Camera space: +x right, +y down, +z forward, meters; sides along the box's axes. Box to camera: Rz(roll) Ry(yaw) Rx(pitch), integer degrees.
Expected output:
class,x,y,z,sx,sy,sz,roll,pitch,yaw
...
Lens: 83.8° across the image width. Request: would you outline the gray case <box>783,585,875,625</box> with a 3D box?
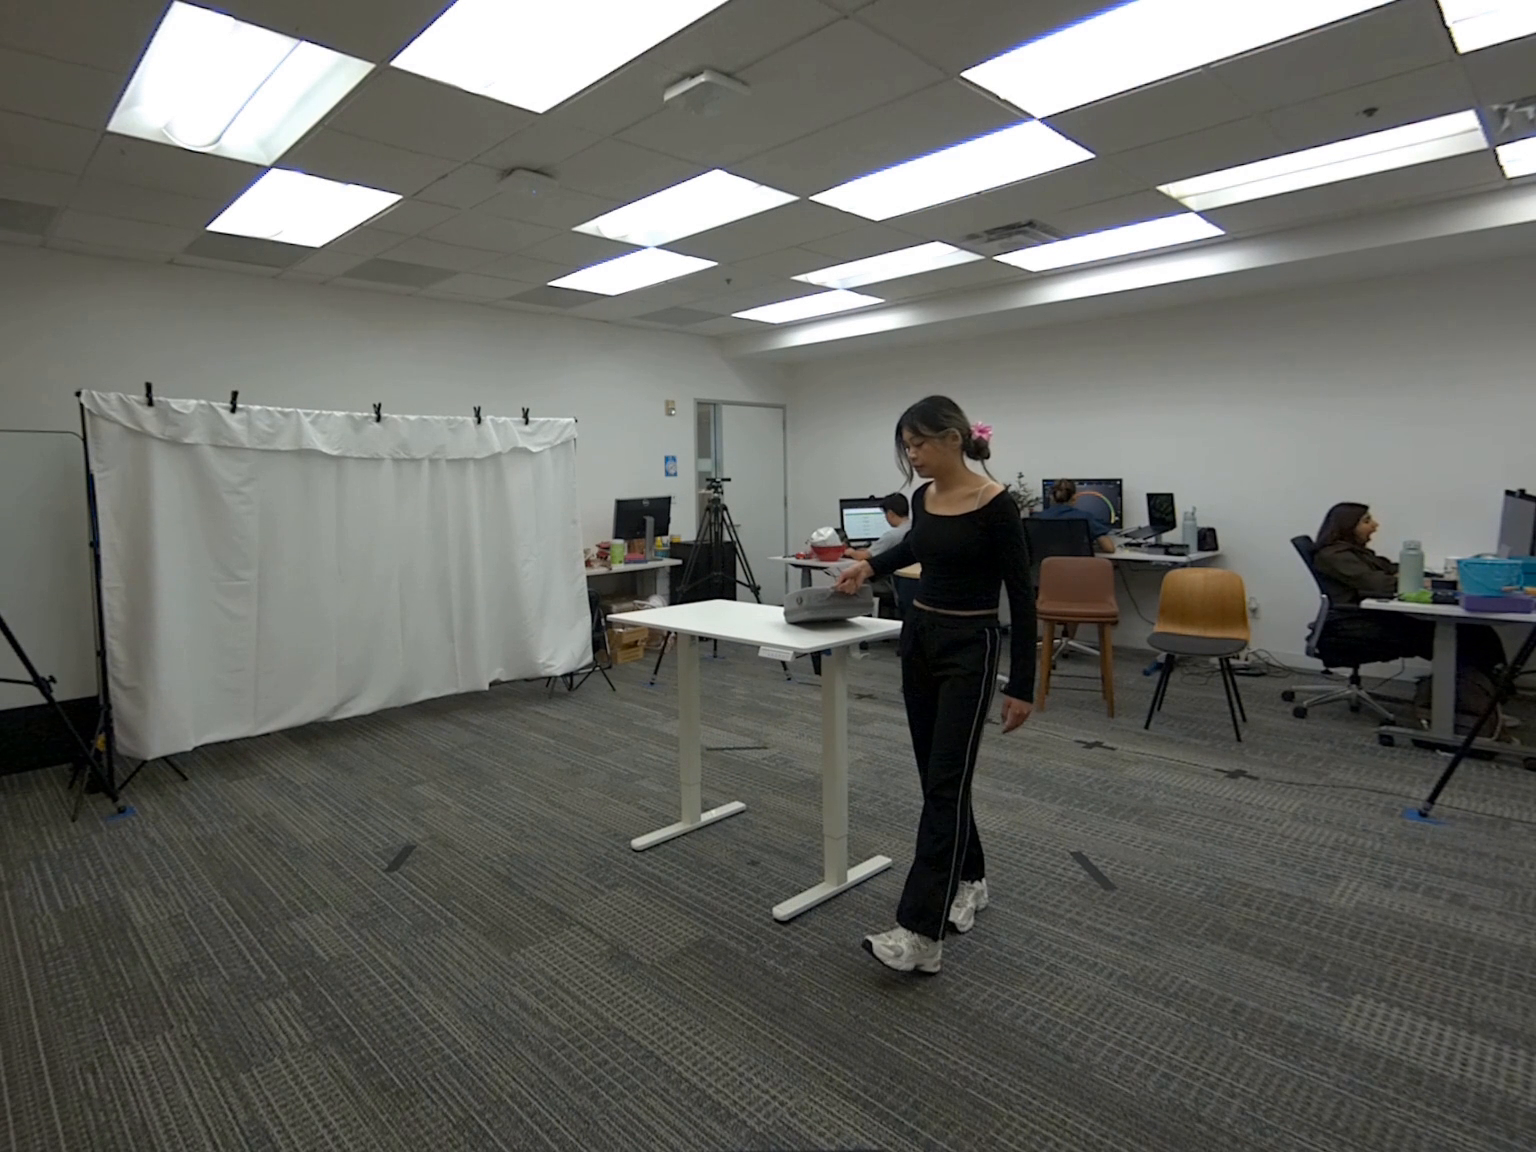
class,x,y,z,sx,sy,sz,roll,pitch,yaw
gray case,0.205,0.096,2.947,0.253,0.105,0.262,-1,-7,-17
